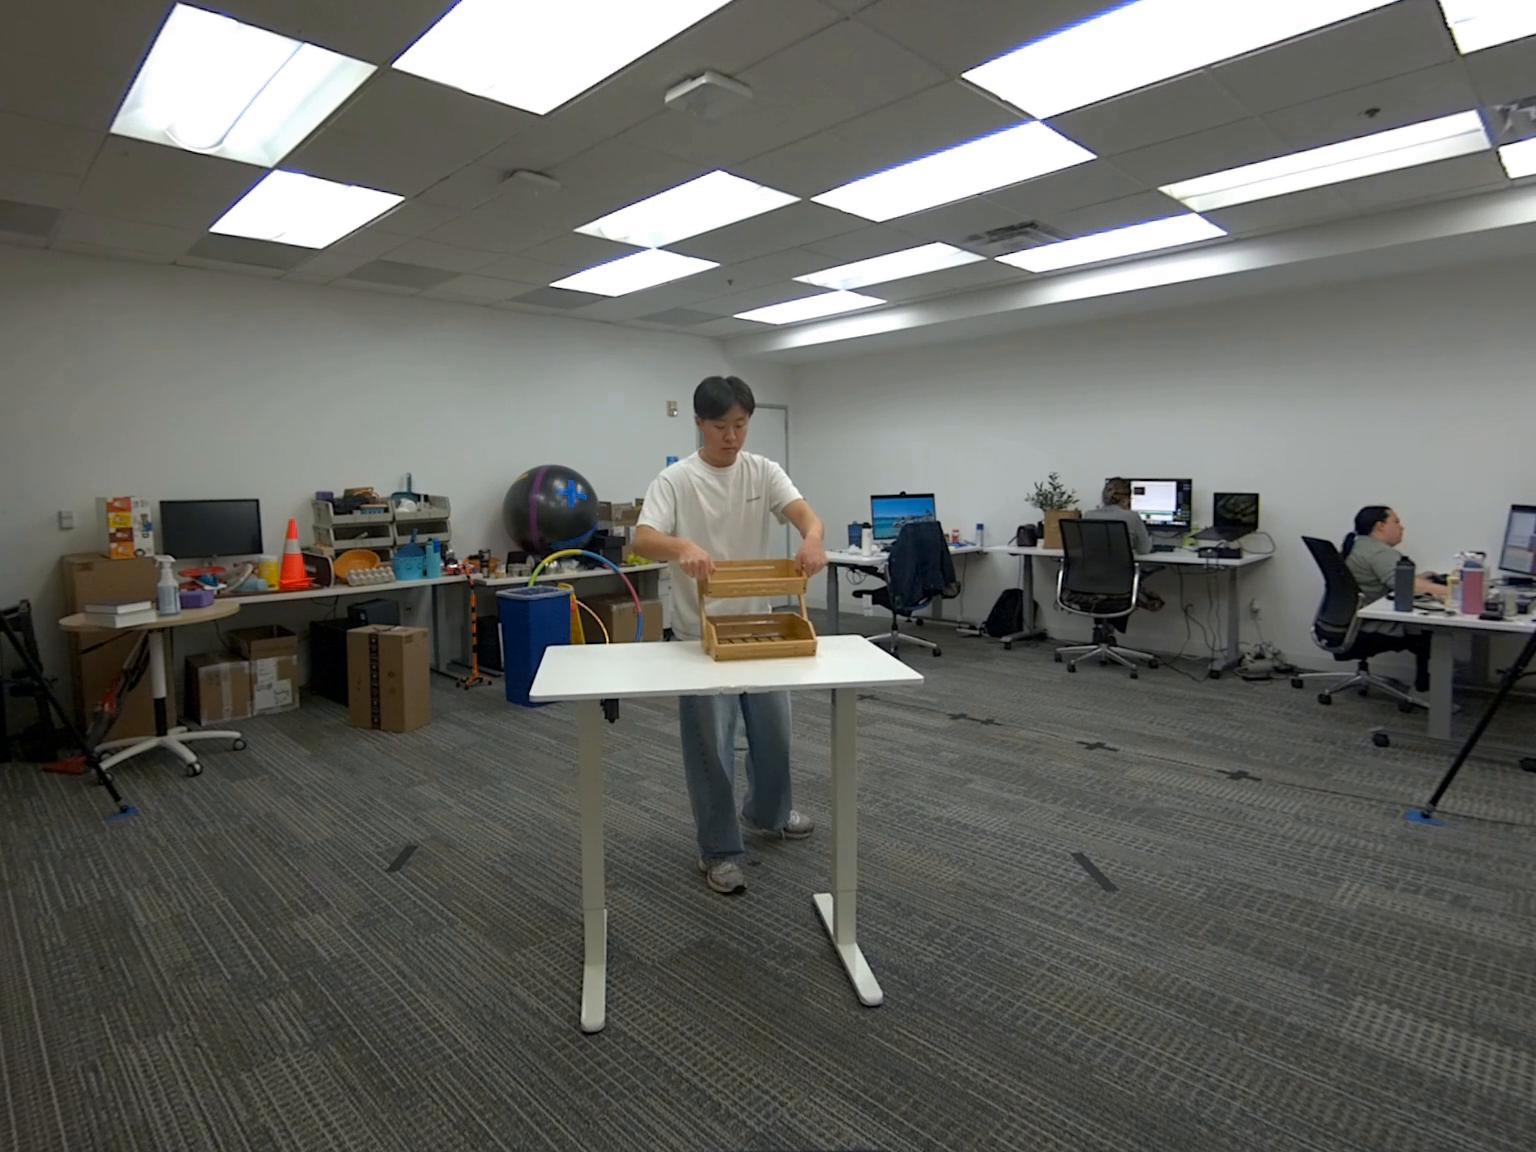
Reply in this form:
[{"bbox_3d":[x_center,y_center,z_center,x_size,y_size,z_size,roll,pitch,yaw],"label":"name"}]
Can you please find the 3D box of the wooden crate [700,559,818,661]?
[{"bbox_3d":[-0.037,0.087,2.572,0.321,0.273,0.306,-2,3,-13],"label":"wooden crate"}]
